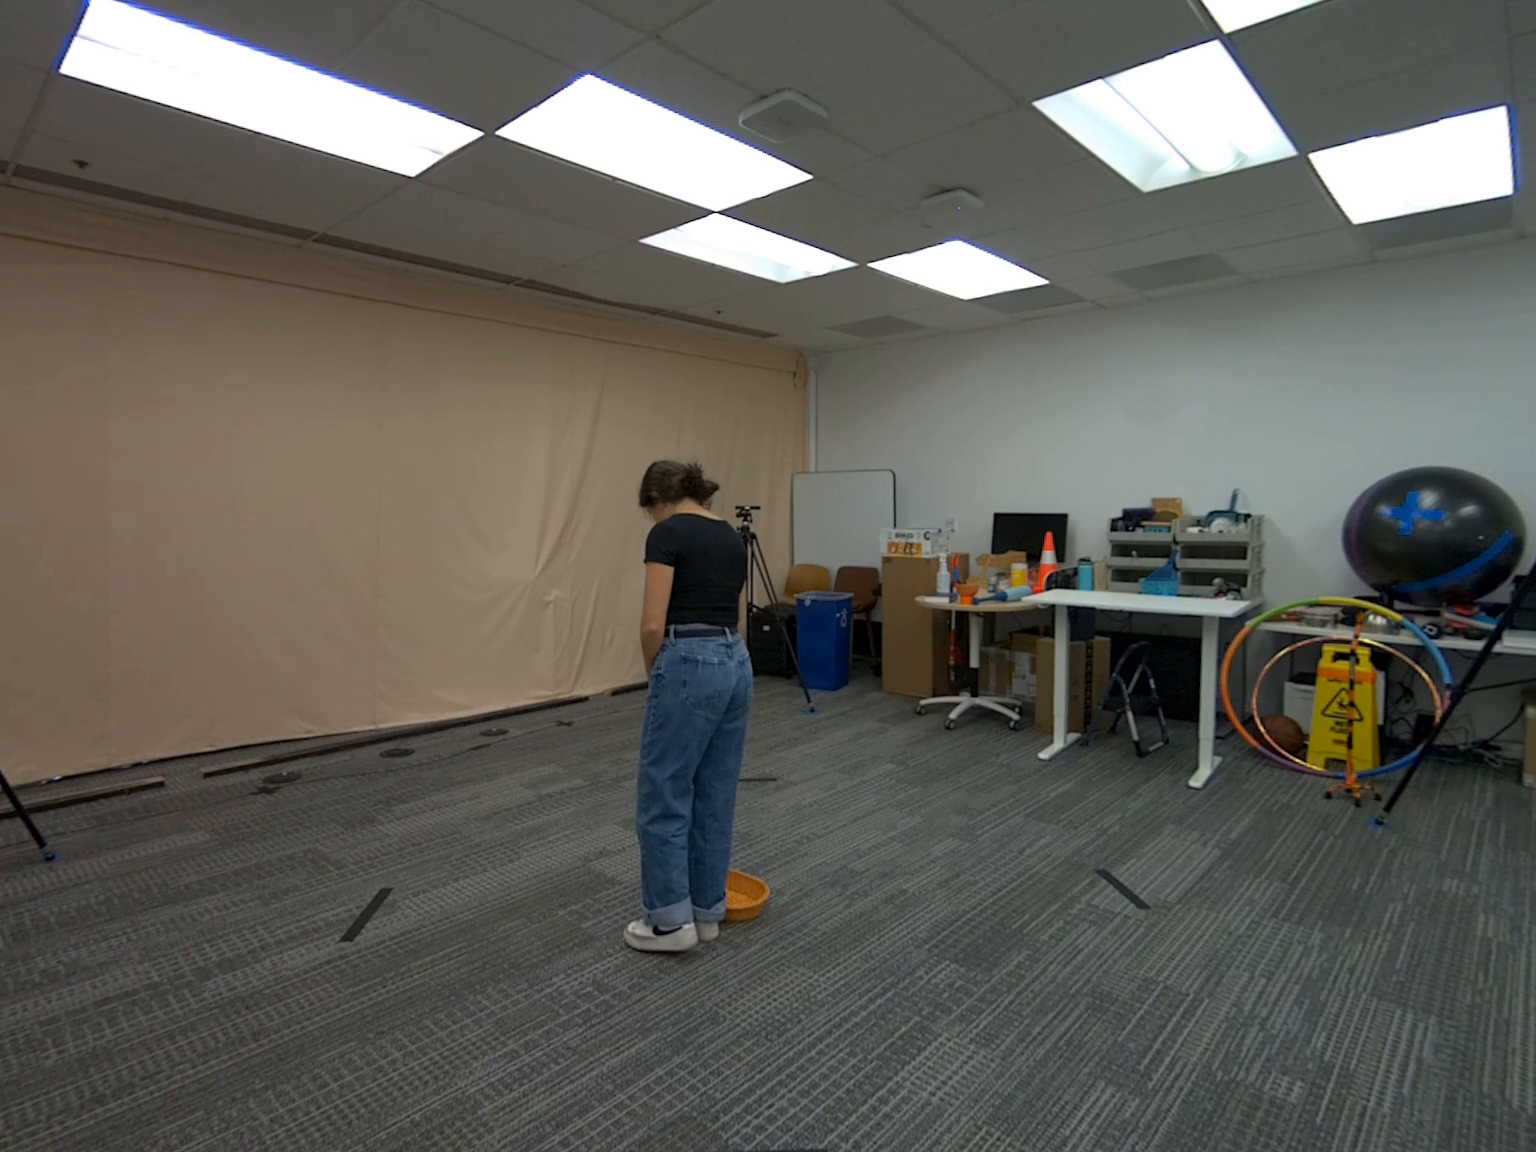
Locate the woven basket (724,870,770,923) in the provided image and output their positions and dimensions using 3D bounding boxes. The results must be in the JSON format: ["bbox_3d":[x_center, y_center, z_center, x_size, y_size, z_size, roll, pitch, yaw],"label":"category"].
[{"bbox_3d":[-0.158,1.107,2.930,0.362,0.073,0.245,5,9,40],"label":"woven basket"}]
